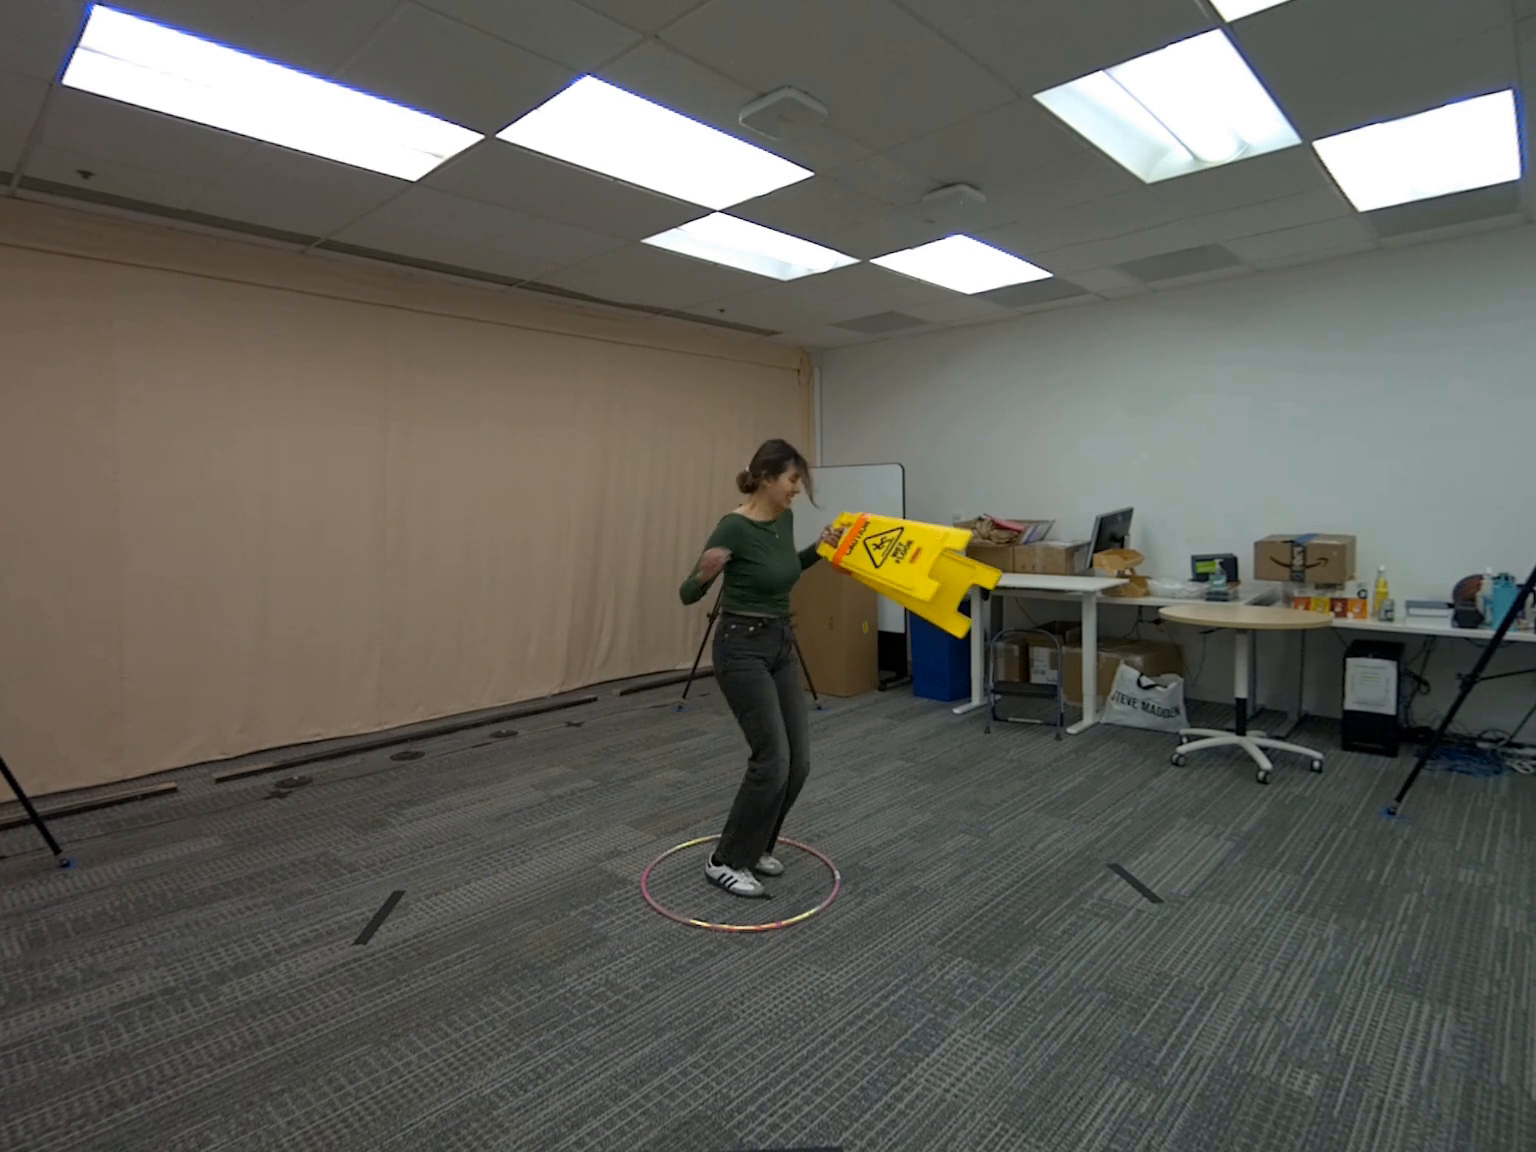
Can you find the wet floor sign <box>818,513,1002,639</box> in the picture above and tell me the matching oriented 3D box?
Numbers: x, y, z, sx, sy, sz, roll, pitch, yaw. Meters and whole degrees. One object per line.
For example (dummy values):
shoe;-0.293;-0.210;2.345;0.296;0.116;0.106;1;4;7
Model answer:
wet floor sign;0.426;-0.054;3.049;0.670;0.282;0.279;27;-10;45
